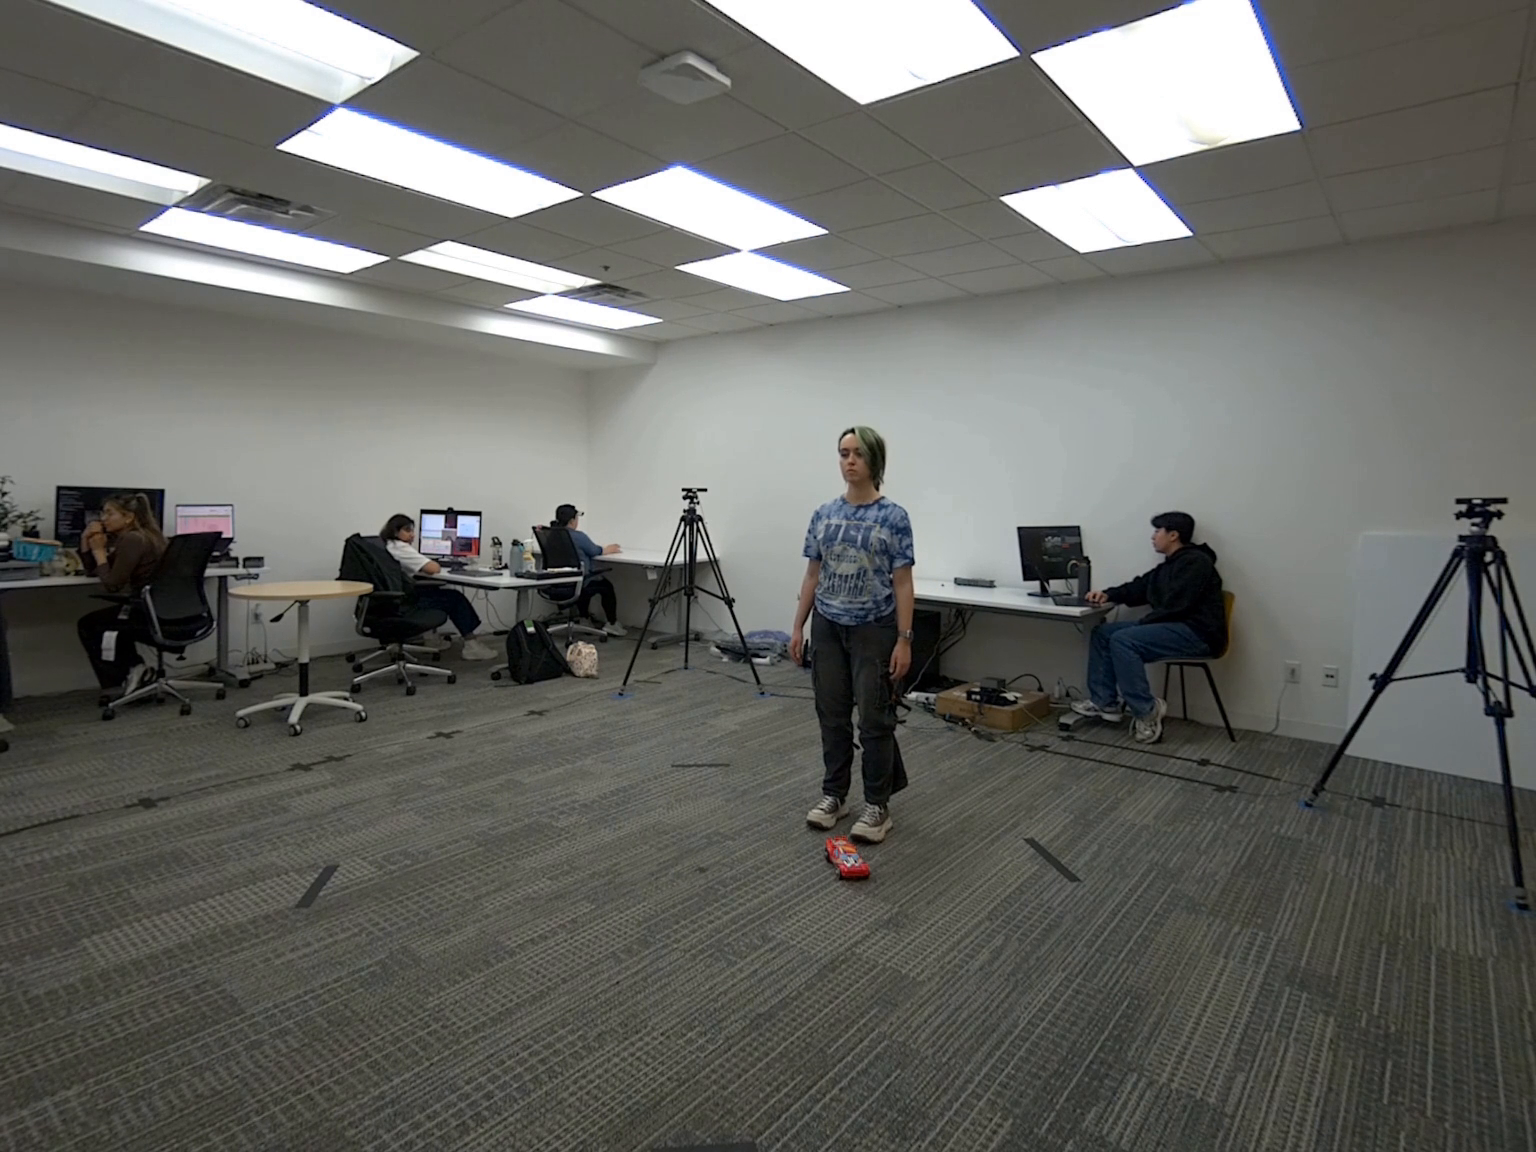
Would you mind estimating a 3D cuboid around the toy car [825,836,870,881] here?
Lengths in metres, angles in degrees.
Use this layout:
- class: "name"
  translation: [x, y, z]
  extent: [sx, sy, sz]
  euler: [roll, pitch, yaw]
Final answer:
- class: "toy car"
  translation: [0.282, 1.044, 3.156]
  extent: [0.129, 0.082, 0.261]
  euler: [-1, 17, -11]
